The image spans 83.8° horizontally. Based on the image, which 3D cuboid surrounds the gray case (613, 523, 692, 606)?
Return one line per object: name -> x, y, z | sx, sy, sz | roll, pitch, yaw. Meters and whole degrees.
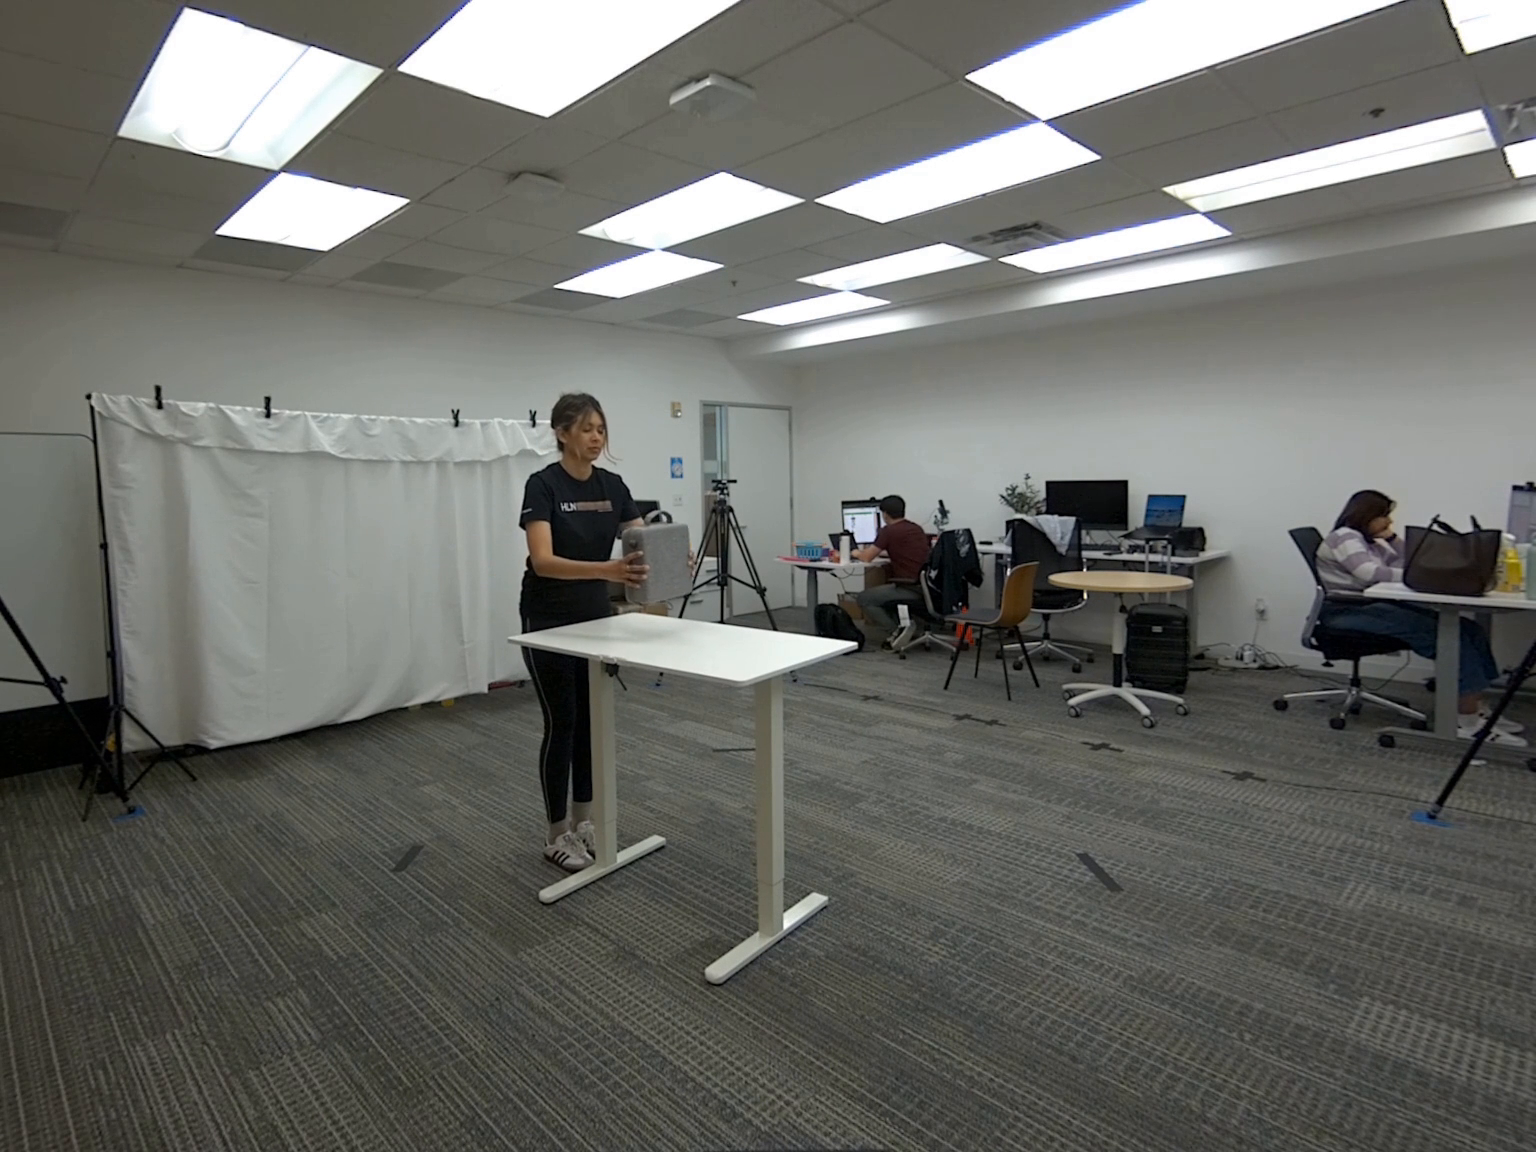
gray case -> -0.362, -0.050, 2.848 | 0.107, 0.259, 0.251 | -1, 8, 35
